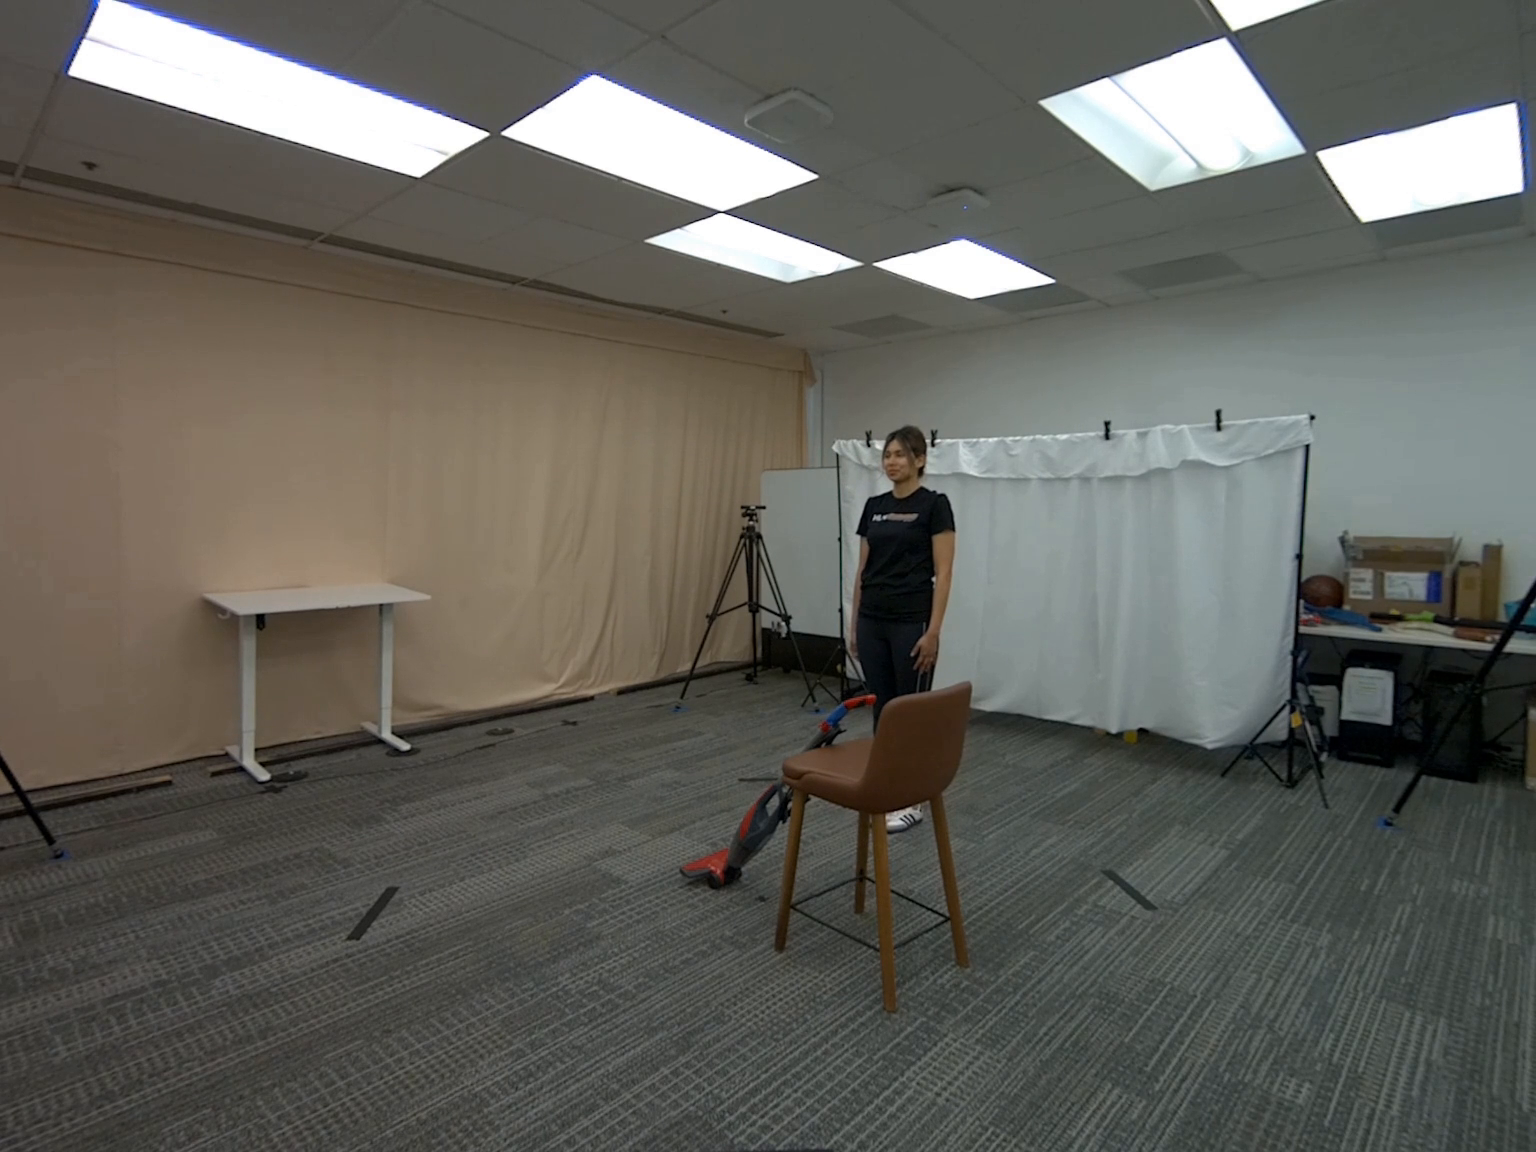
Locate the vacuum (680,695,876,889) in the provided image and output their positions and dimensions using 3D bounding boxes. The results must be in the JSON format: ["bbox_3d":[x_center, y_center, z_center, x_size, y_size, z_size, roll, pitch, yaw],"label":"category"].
[{"bbox_3d":[0.054,0.745,2.873,0.245,1.051,0.148,-6,50,-47],"label":"vacuum"}]
